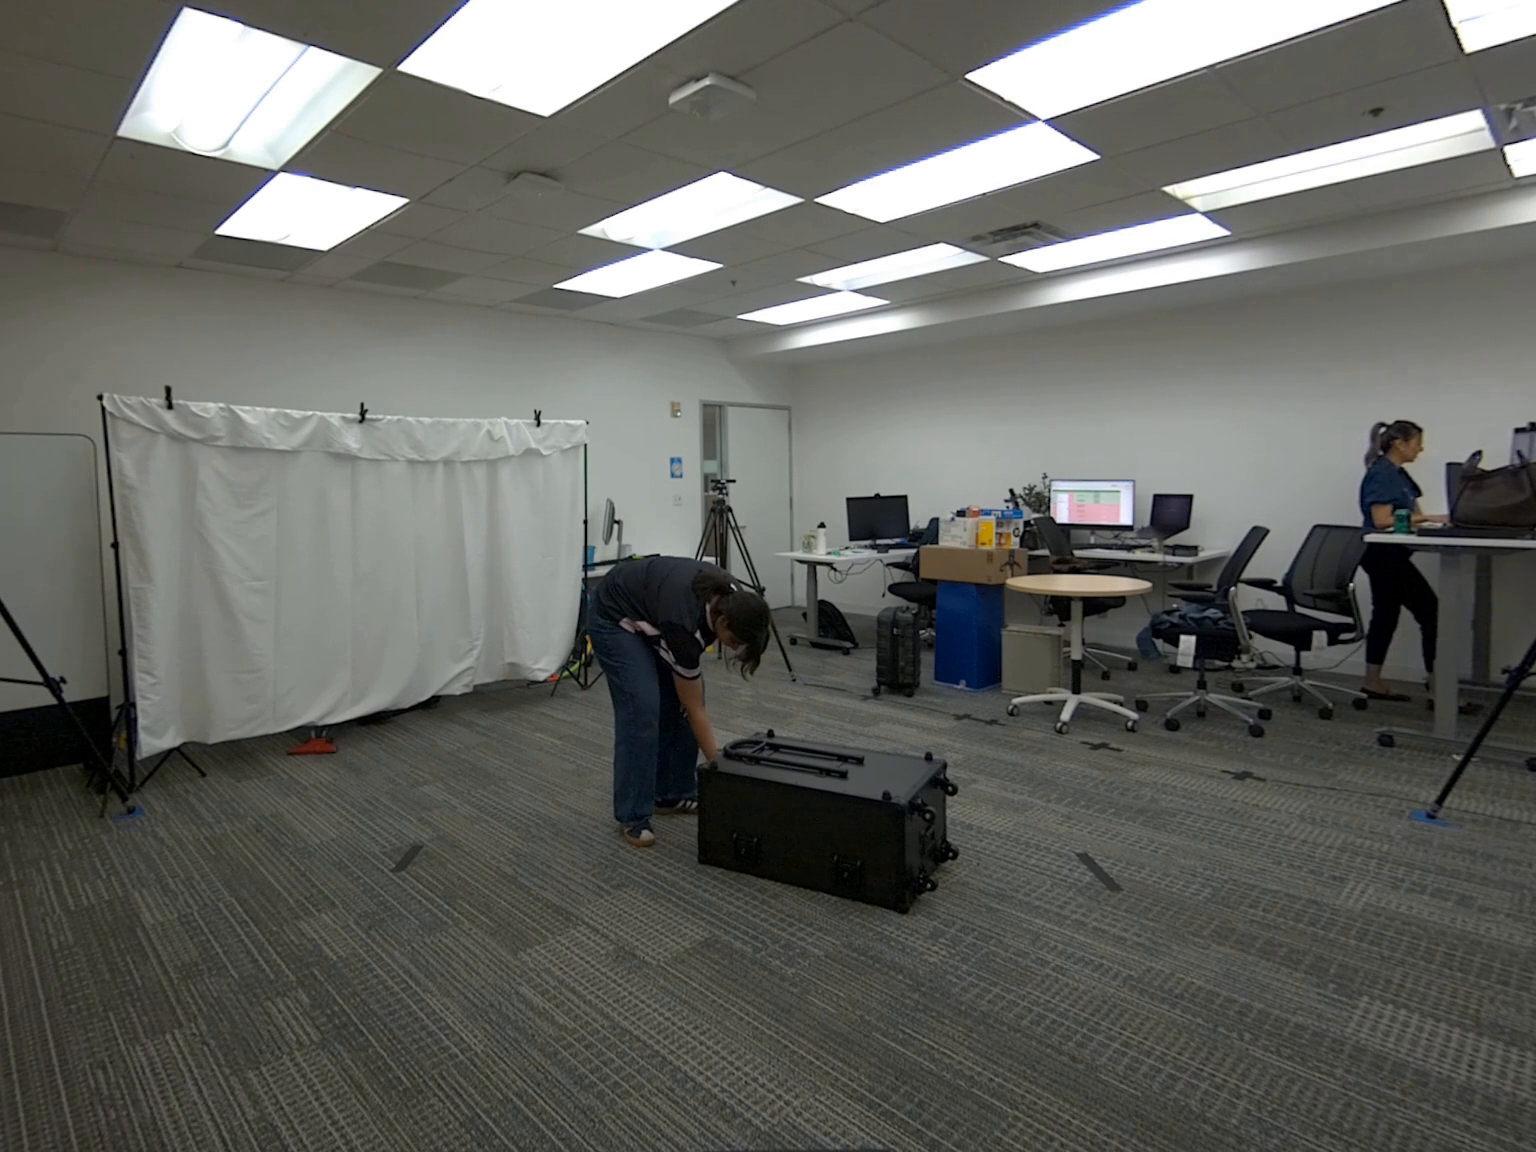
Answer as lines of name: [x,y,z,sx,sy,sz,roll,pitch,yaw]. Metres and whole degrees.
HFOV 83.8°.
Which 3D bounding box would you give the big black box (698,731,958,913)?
big black box: [0.235,0.845,3.098,0.884,0.394,0.510,3,6,28]
